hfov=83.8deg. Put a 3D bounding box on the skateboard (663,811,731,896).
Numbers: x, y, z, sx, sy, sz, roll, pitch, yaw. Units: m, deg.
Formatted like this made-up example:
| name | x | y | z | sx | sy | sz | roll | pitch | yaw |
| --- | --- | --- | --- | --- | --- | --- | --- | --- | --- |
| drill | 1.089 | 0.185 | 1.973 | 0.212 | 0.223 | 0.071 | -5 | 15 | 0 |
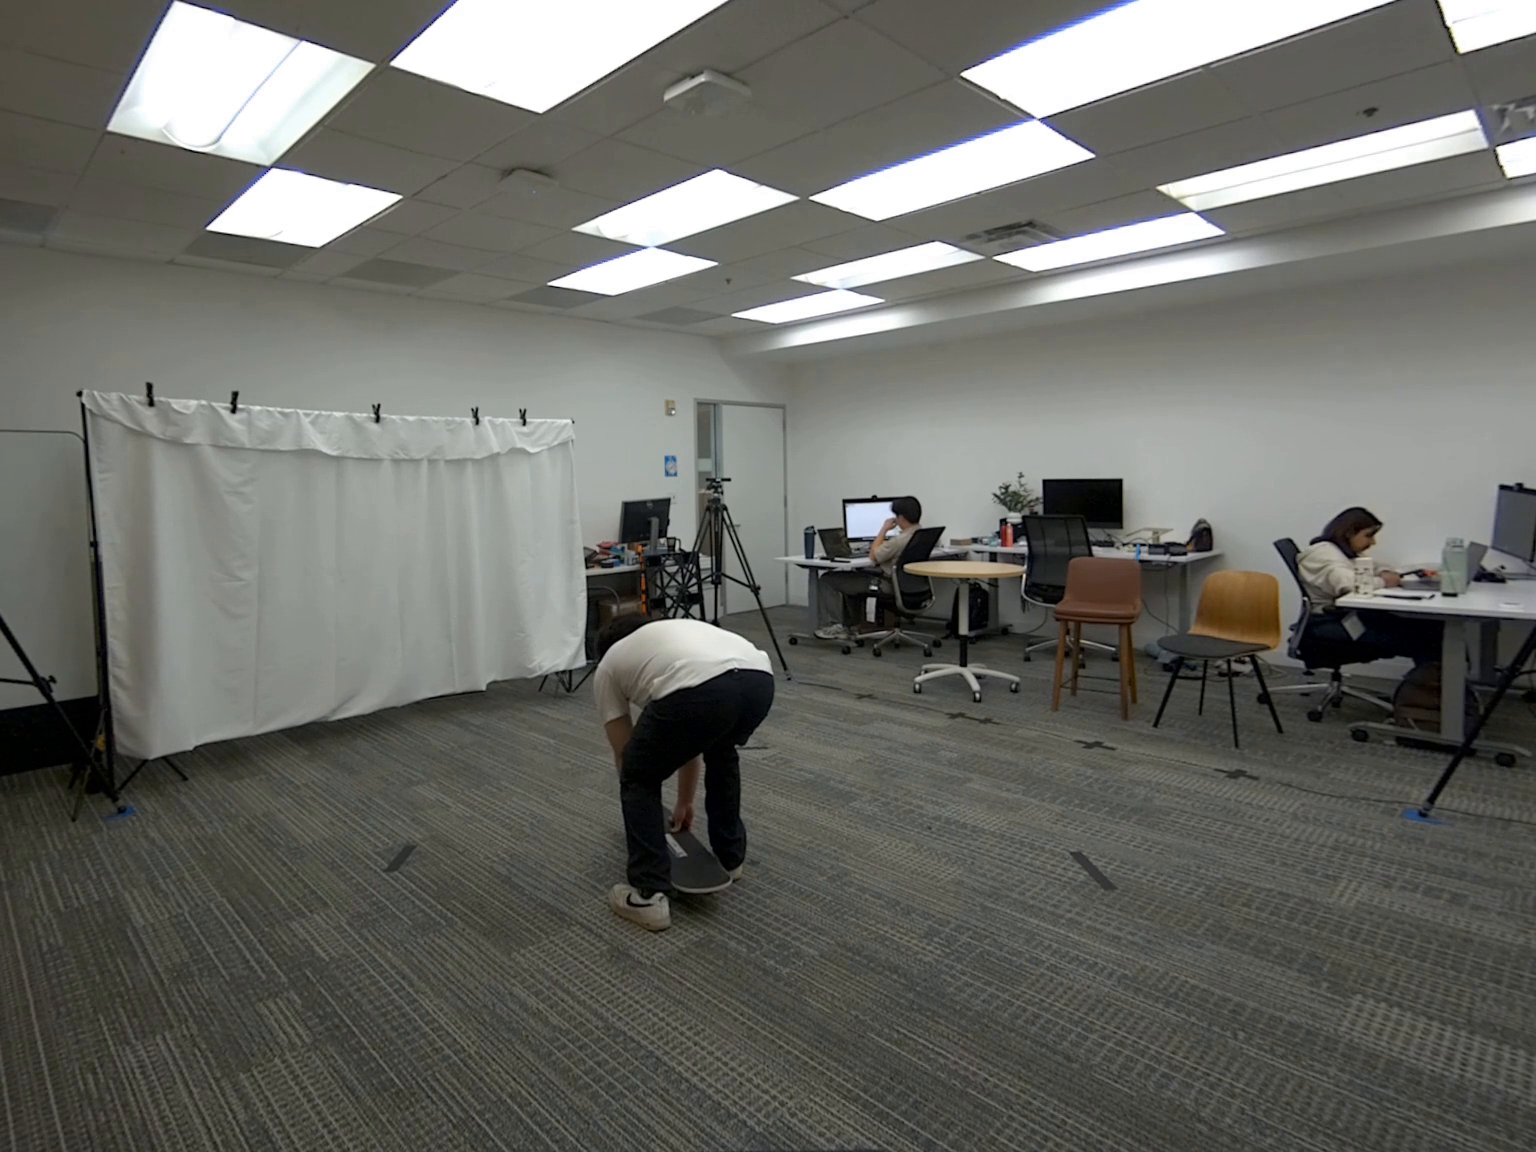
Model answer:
| name | x | y | z | sx | sy | sz | roll | pitch | yaw |
| --- | --- | --- | --- | --- | --- | --- | --- | --- | --- |
| skateboard | -0.330 | 1.001 | 3.061 | 0.189 | 0.110 | 0.805 | -3 | 7 | -24 |
